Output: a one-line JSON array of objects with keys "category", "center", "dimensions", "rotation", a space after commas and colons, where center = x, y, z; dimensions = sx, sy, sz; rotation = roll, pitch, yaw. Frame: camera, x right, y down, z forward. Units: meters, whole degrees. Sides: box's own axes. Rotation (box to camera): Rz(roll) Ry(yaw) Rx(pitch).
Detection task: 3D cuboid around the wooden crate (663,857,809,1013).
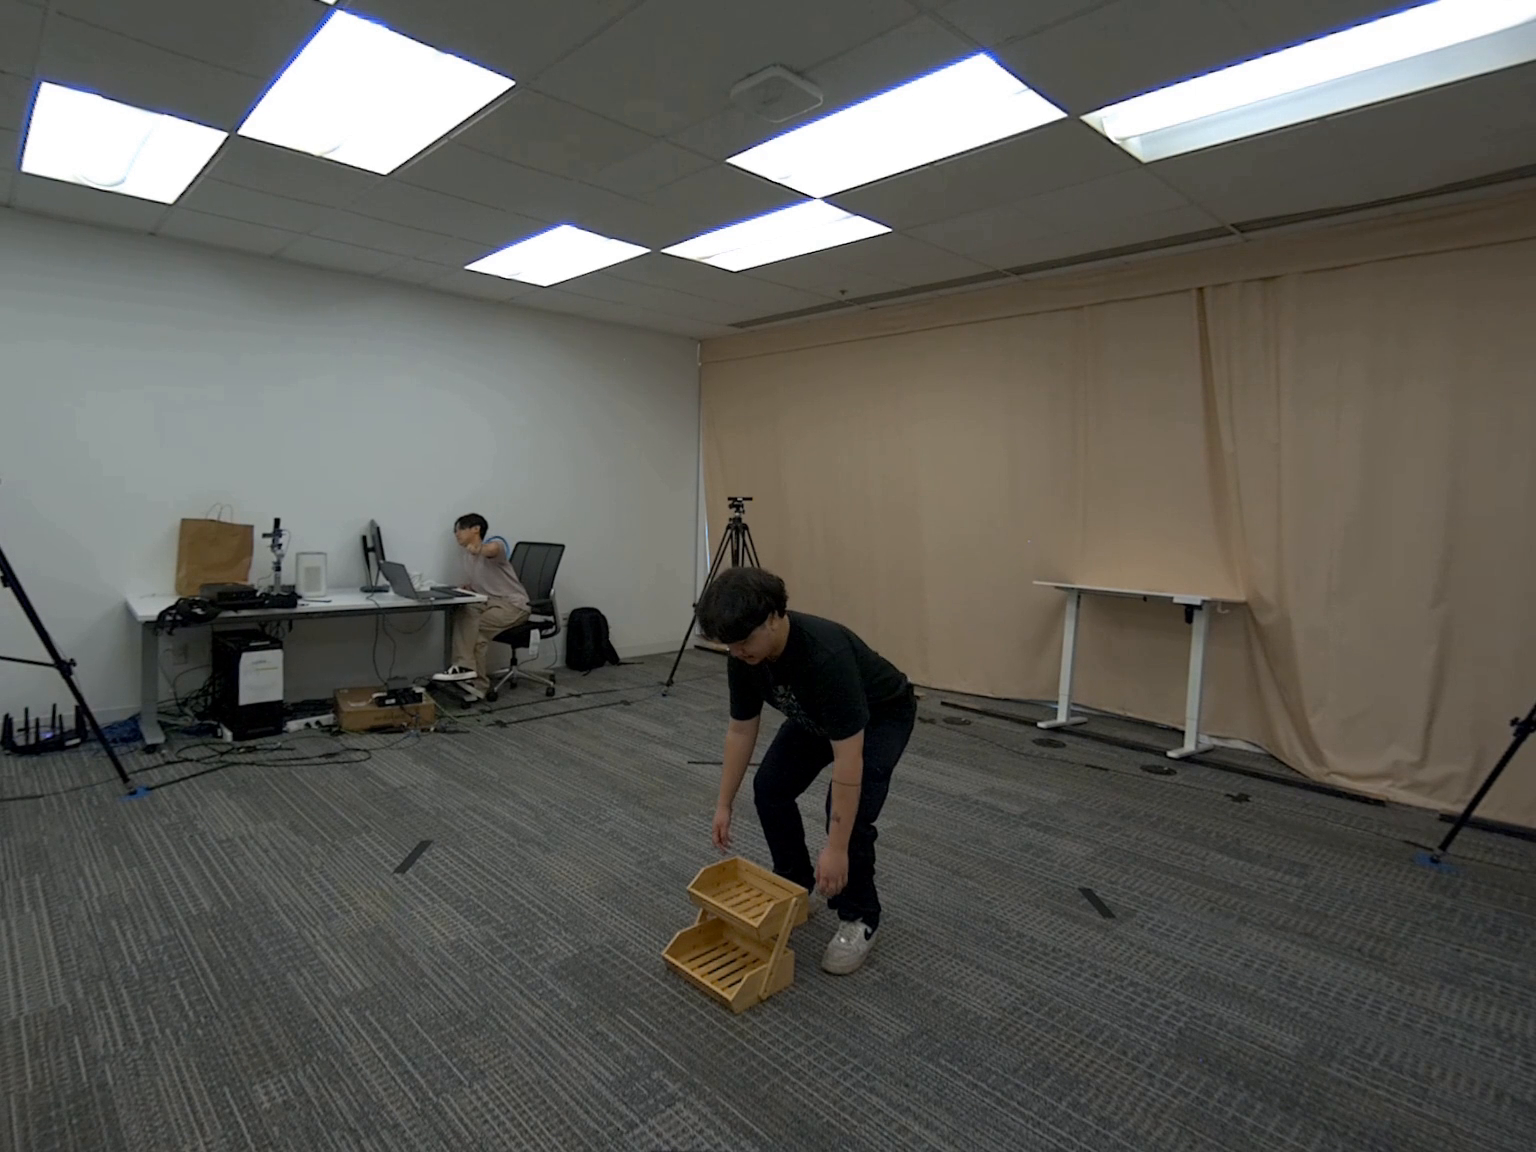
[{"category": "wooden crate", "center": [-0.105, 1.033, 2.457], "dimensions": [0.333, 0.273, 0.295], "rotation": [6, 5, 44]}]
